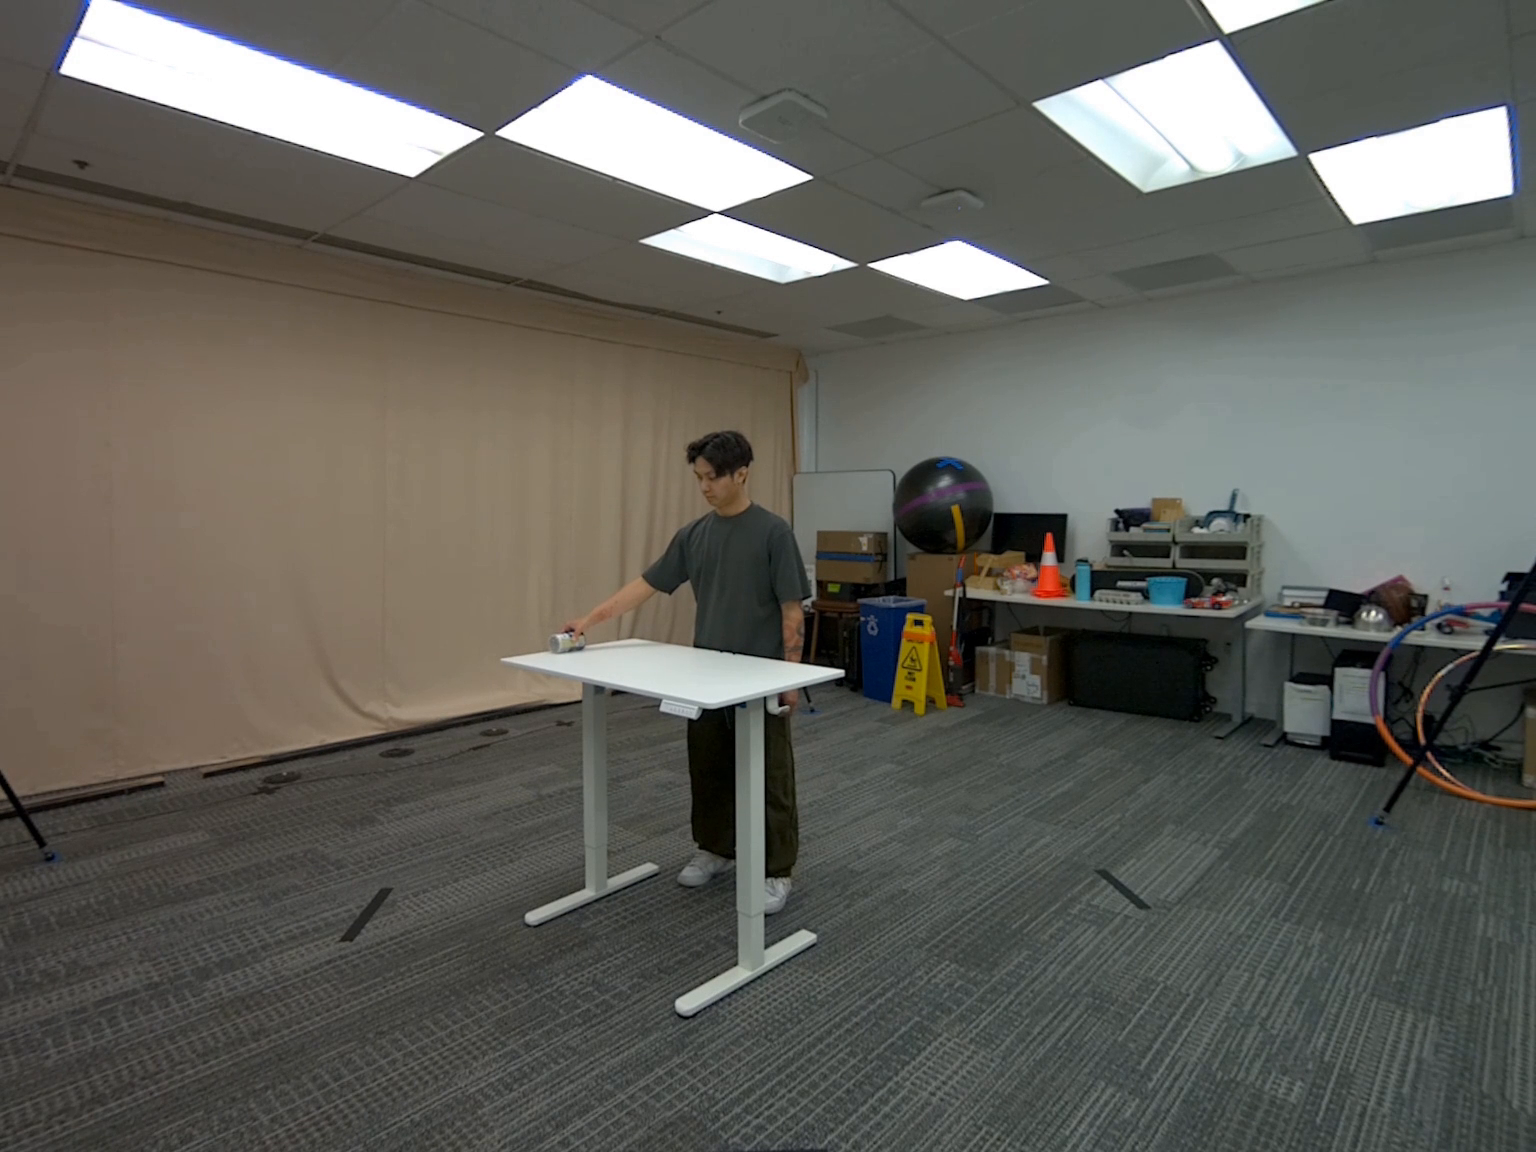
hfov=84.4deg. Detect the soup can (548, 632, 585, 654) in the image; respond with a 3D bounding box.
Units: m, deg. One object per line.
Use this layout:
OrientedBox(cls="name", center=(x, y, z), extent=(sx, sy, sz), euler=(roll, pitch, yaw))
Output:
OrientedBox(cls="soup can", center=(-0.709, 0.235, 2.993), extent=(0.117, 0.067, 0.069), euler=(2, 2, -41))
